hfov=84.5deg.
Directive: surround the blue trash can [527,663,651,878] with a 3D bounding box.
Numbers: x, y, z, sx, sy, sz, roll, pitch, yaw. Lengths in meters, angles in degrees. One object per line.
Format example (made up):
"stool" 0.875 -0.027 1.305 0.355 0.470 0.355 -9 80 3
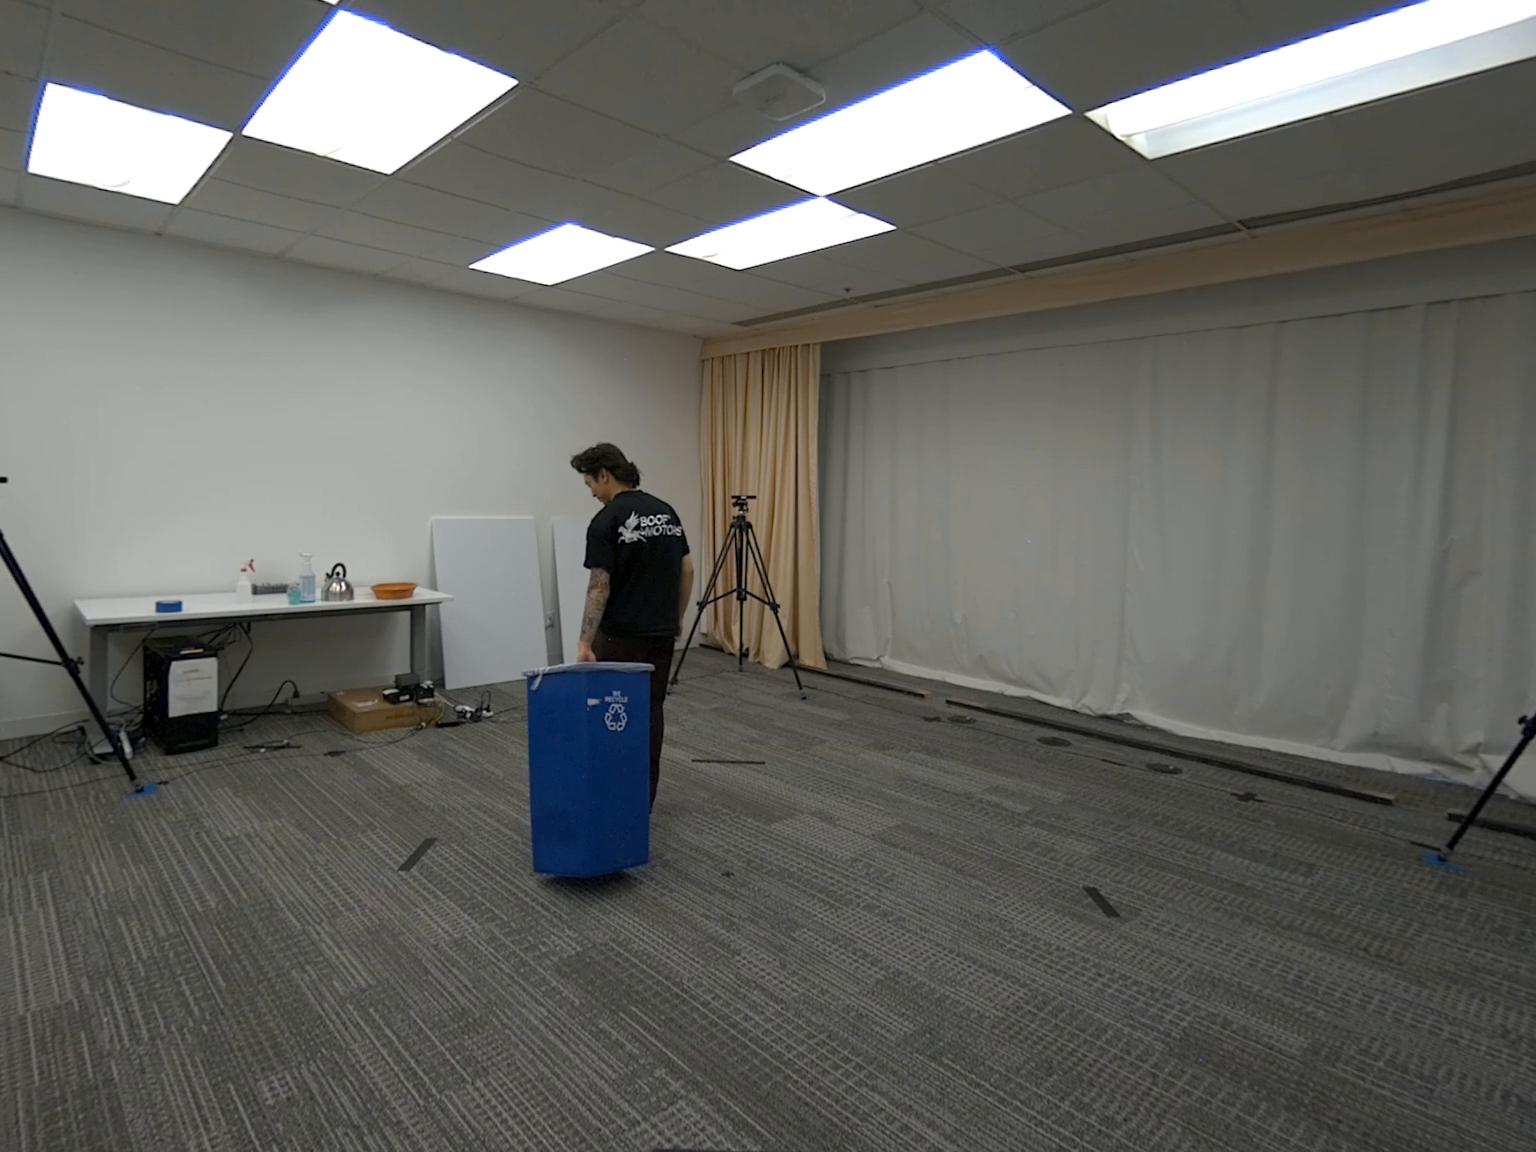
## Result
"blue trash can" -0.668 0.699 3.104 0.385 0.720 0.364 -12 -14 37
